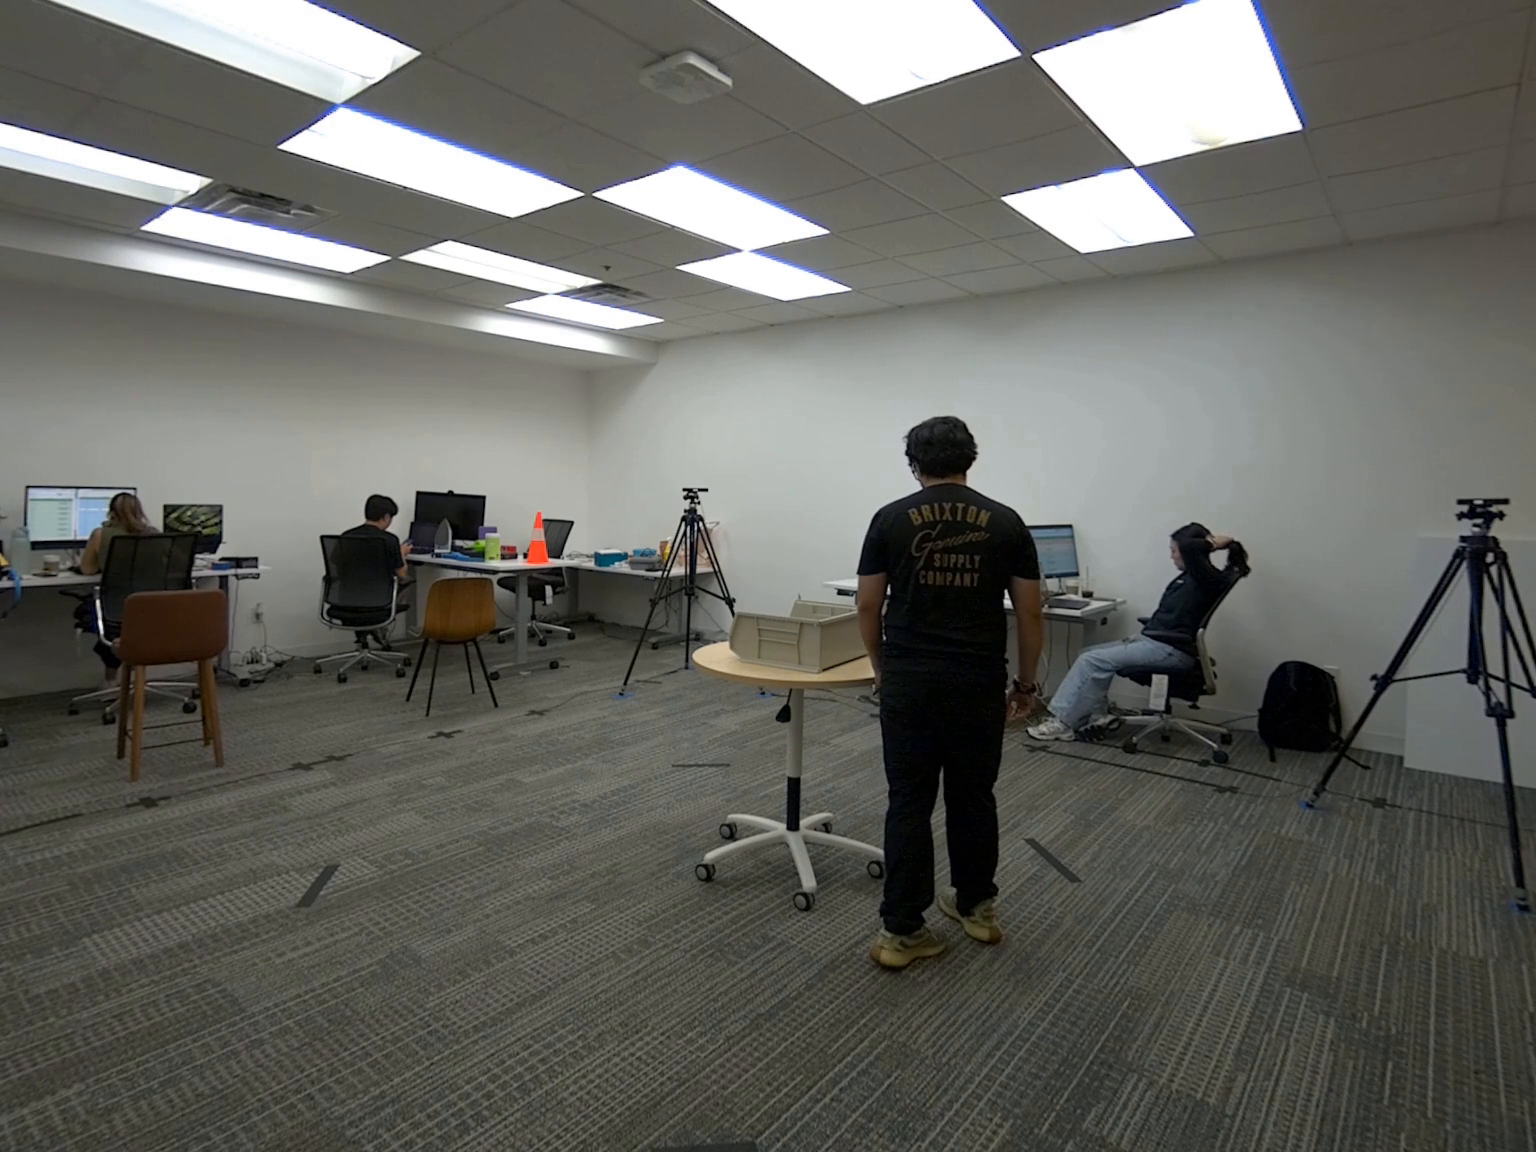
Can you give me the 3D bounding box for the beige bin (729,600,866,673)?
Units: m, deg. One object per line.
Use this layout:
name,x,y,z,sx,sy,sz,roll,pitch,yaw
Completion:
beige bin,0.118,0.206,3.099,0.389,0.188,0.411,6,7,34
